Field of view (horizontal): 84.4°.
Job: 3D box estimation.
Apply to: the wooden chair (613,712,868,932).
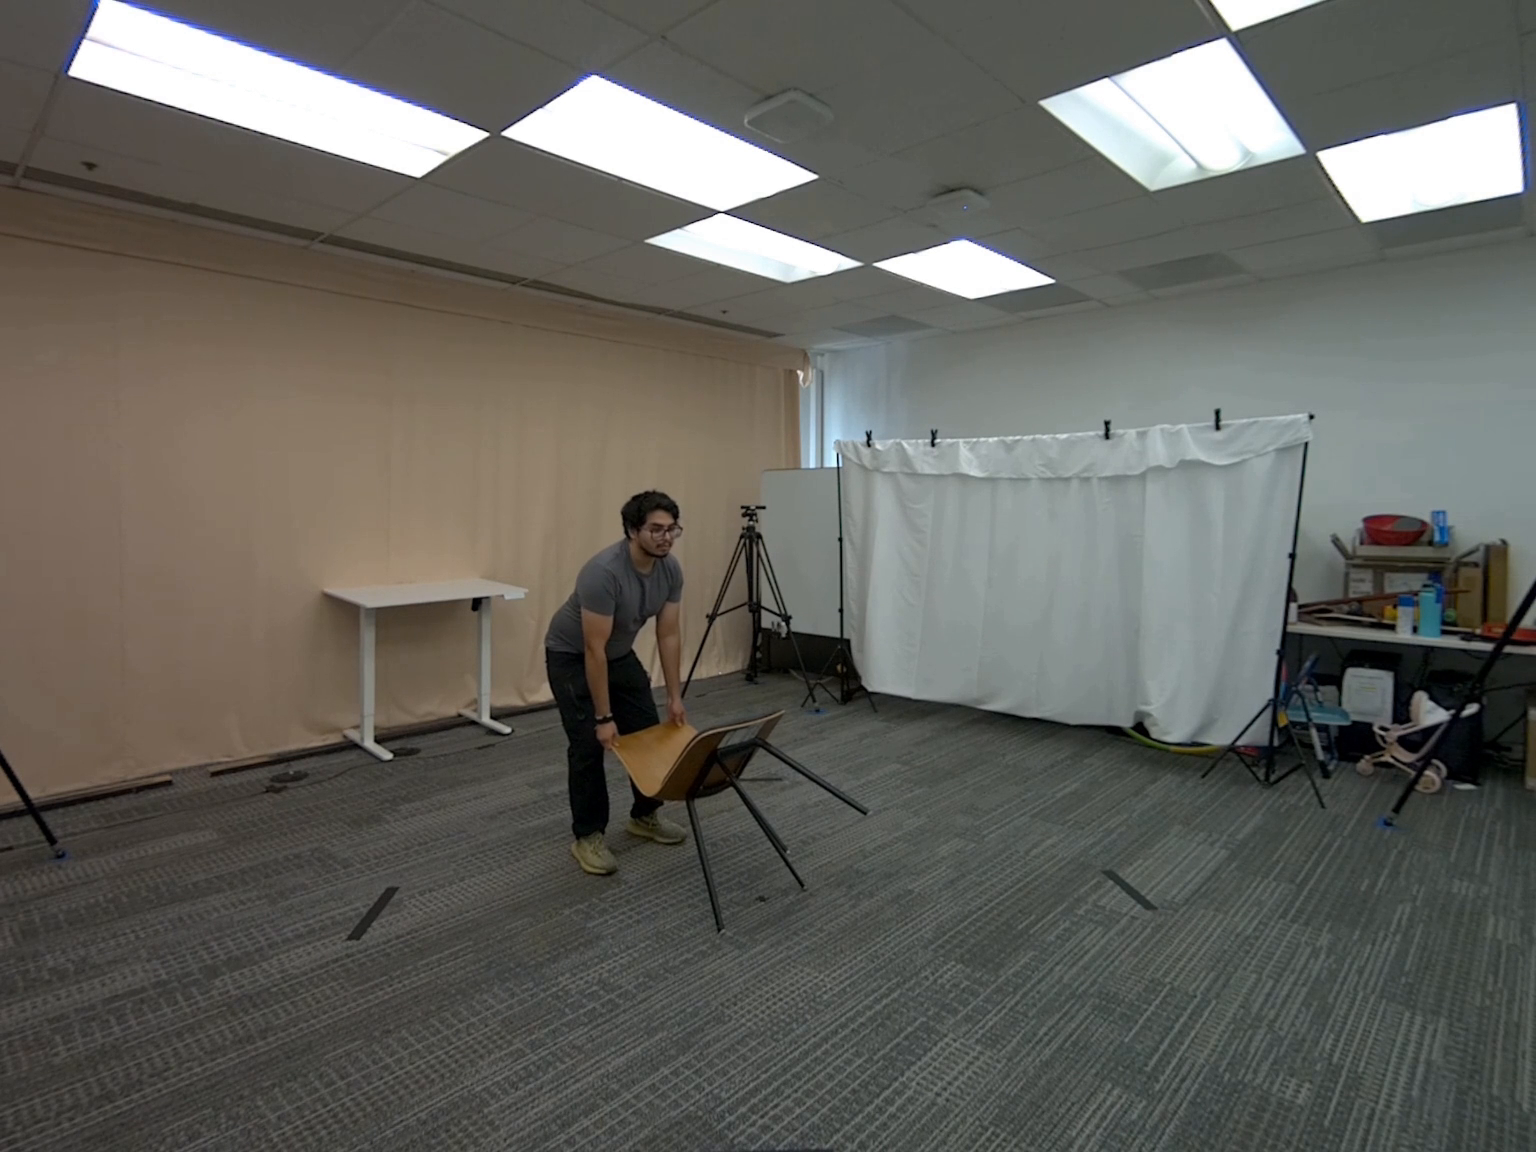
[{"bbox_3d":[-0.153,0.692,3.001,0.463,0.522,0.906,-4,40,-47],"label":"wooden chair"}]
